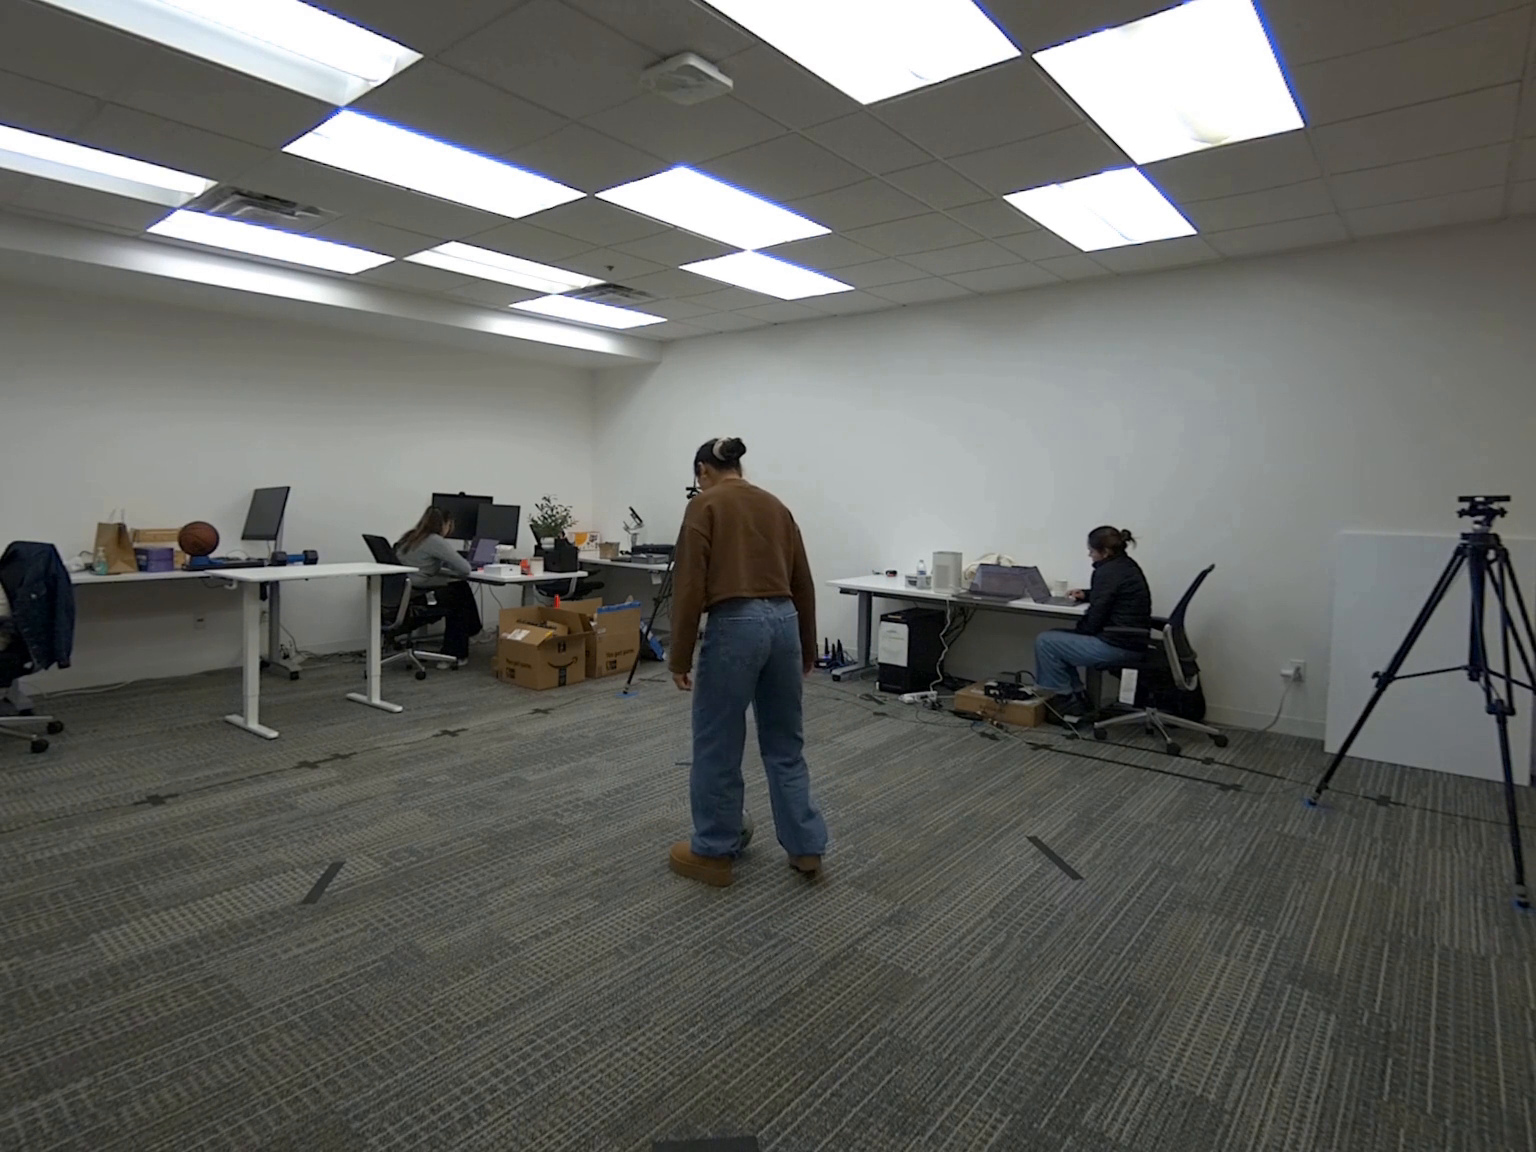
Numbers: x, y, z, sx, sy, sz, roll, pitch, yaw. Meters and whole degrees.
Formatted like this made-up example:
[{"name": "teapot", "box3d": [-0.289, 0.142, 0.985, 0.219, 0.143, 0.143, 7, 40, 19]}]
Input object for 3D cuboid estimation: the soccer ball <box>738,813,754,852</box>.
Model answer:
[{"name": "soccer ball", "box3d": [-0.152, 0.953, 3.253, 0.187, 0.187, 0.188, 1, 4, -2]}]
